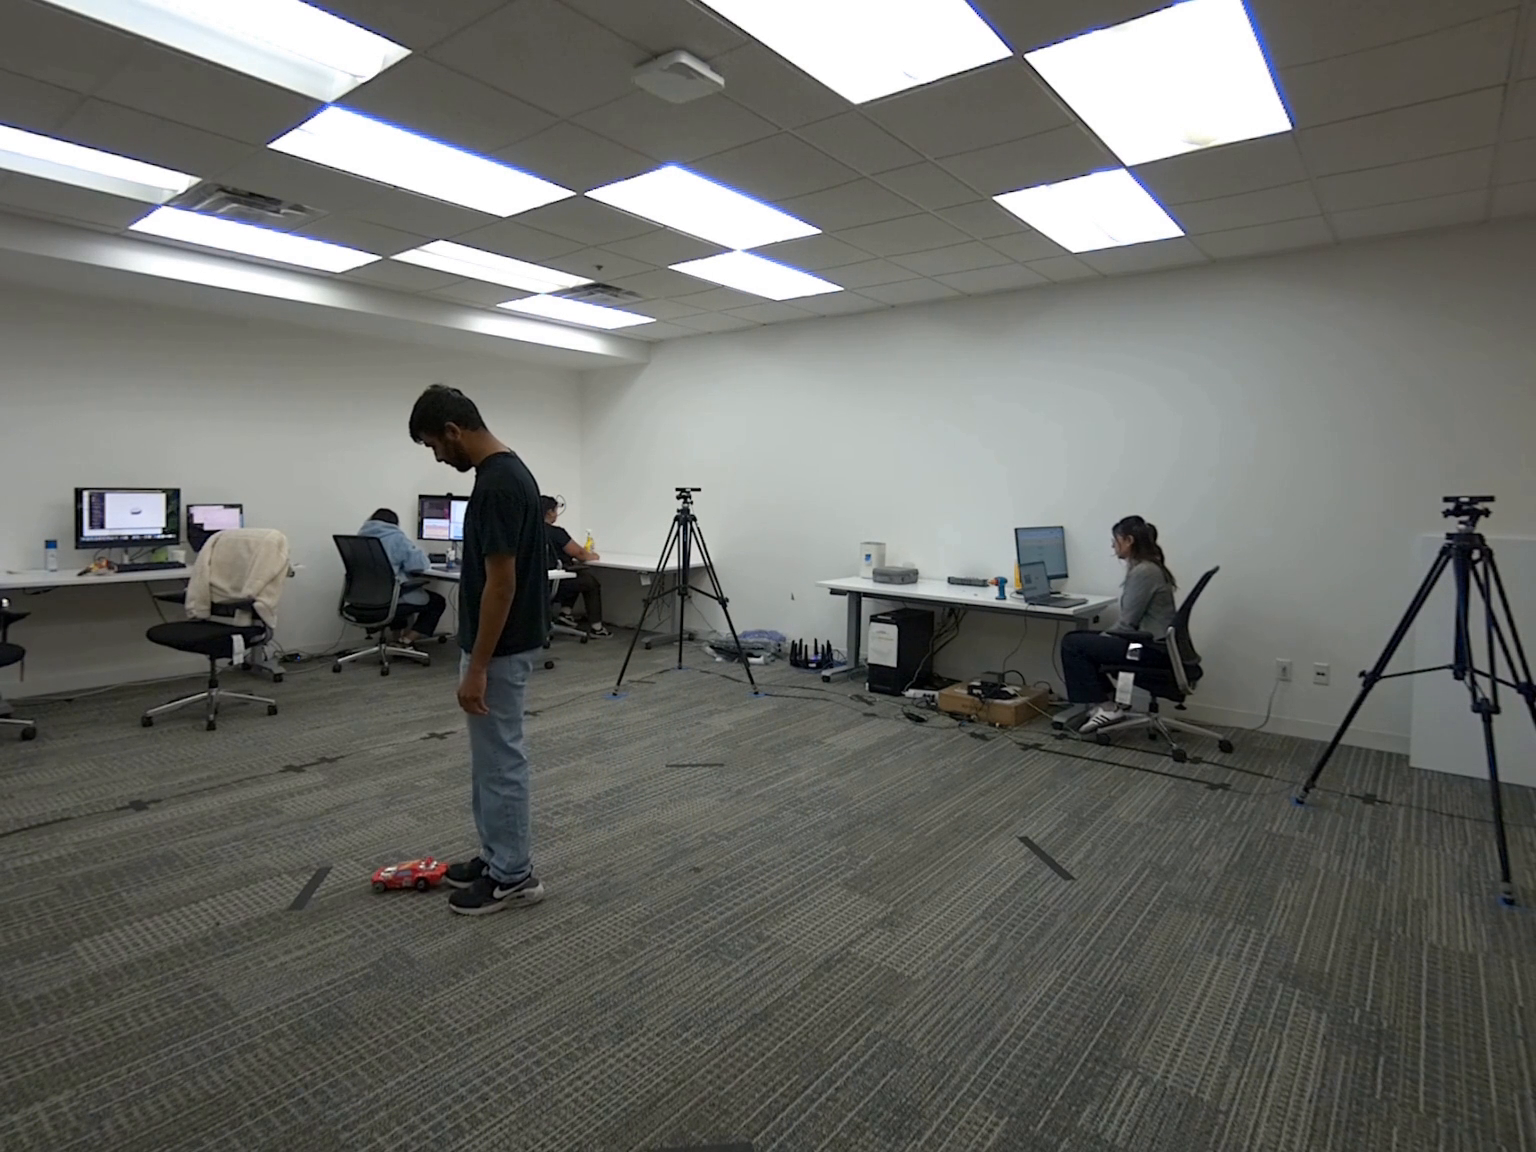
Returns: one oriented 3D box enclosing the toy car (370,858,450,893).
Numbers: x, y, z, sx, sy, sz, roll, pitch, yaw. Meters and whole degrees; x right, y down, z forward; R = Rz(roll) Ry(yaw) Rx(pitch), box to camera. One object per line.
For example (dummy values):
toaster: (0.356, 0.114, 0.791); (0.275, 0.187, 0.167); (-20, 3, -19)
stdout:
toy car: (-1.245, 1.038, 2.950); (0.255, 0.083, 0.131); (-13, 5, 1)
